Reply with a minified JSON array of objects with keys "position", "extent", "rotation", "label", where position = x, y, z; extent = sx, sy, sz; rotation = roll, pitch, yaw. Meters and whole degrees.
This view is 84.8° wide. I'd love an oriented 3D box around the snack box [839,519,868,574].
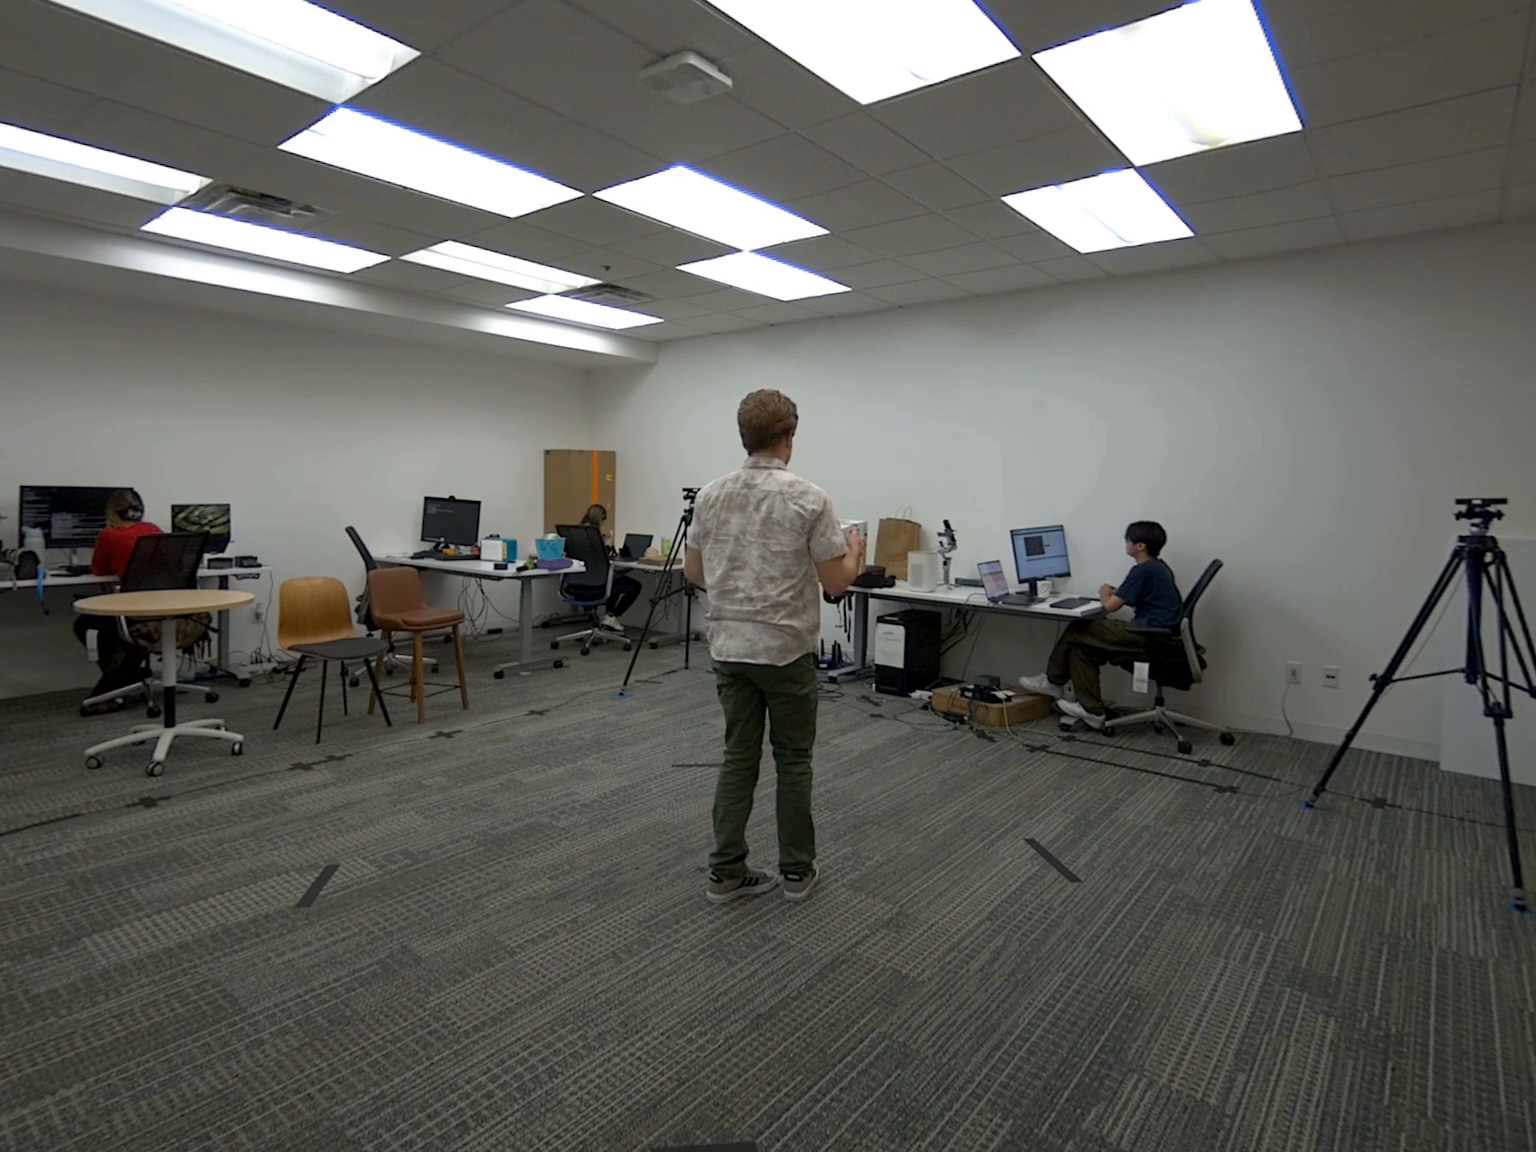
[{"position":[0.125,-0.114,3.218],"extent":[0.415,0.204,0.334],"rotation":[6,9,23],"label":"snack box"}]
